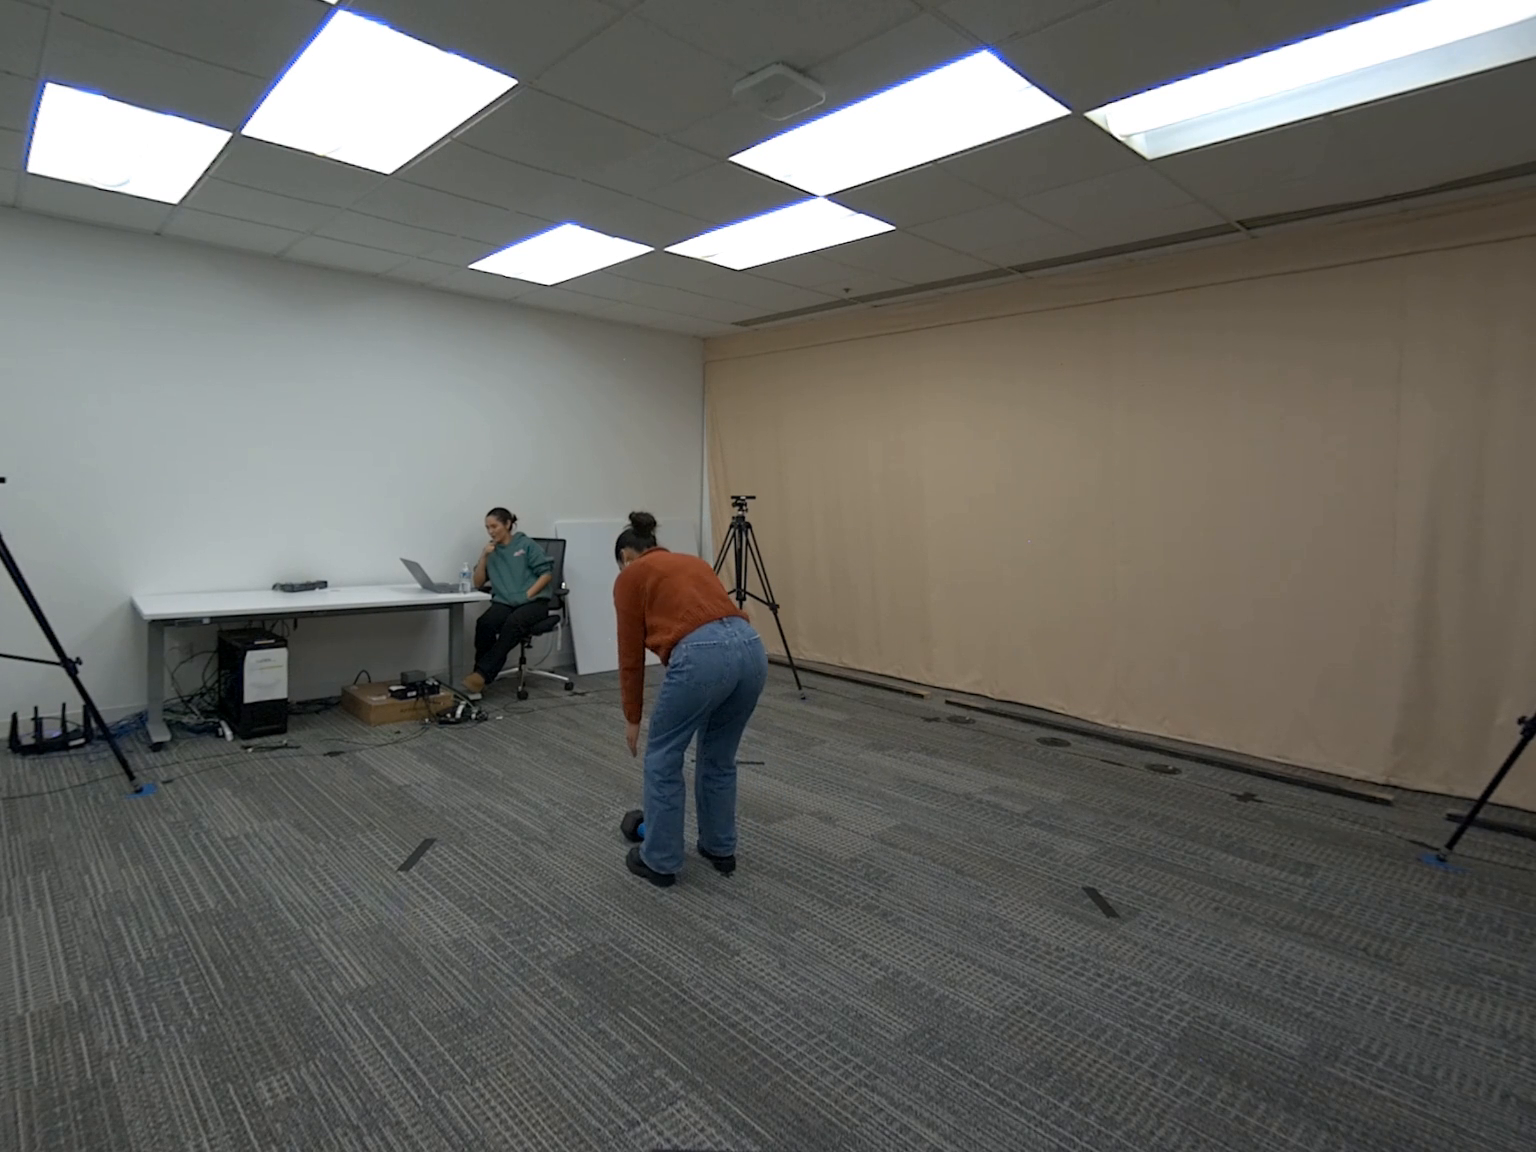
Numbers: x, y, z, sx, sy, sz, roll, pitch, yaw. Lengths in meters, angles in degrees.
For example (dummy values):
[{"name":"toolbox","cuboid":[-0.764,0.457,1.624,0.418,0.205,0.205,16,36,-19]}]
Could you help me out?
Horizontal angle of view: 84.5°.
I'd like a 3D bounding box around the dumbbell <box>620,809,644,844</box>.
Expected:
[{"name":"dumbbell","cuboid":[-0.466,1.025,3.330,0.120,0.108,0.301,-5,9,-43]}]
